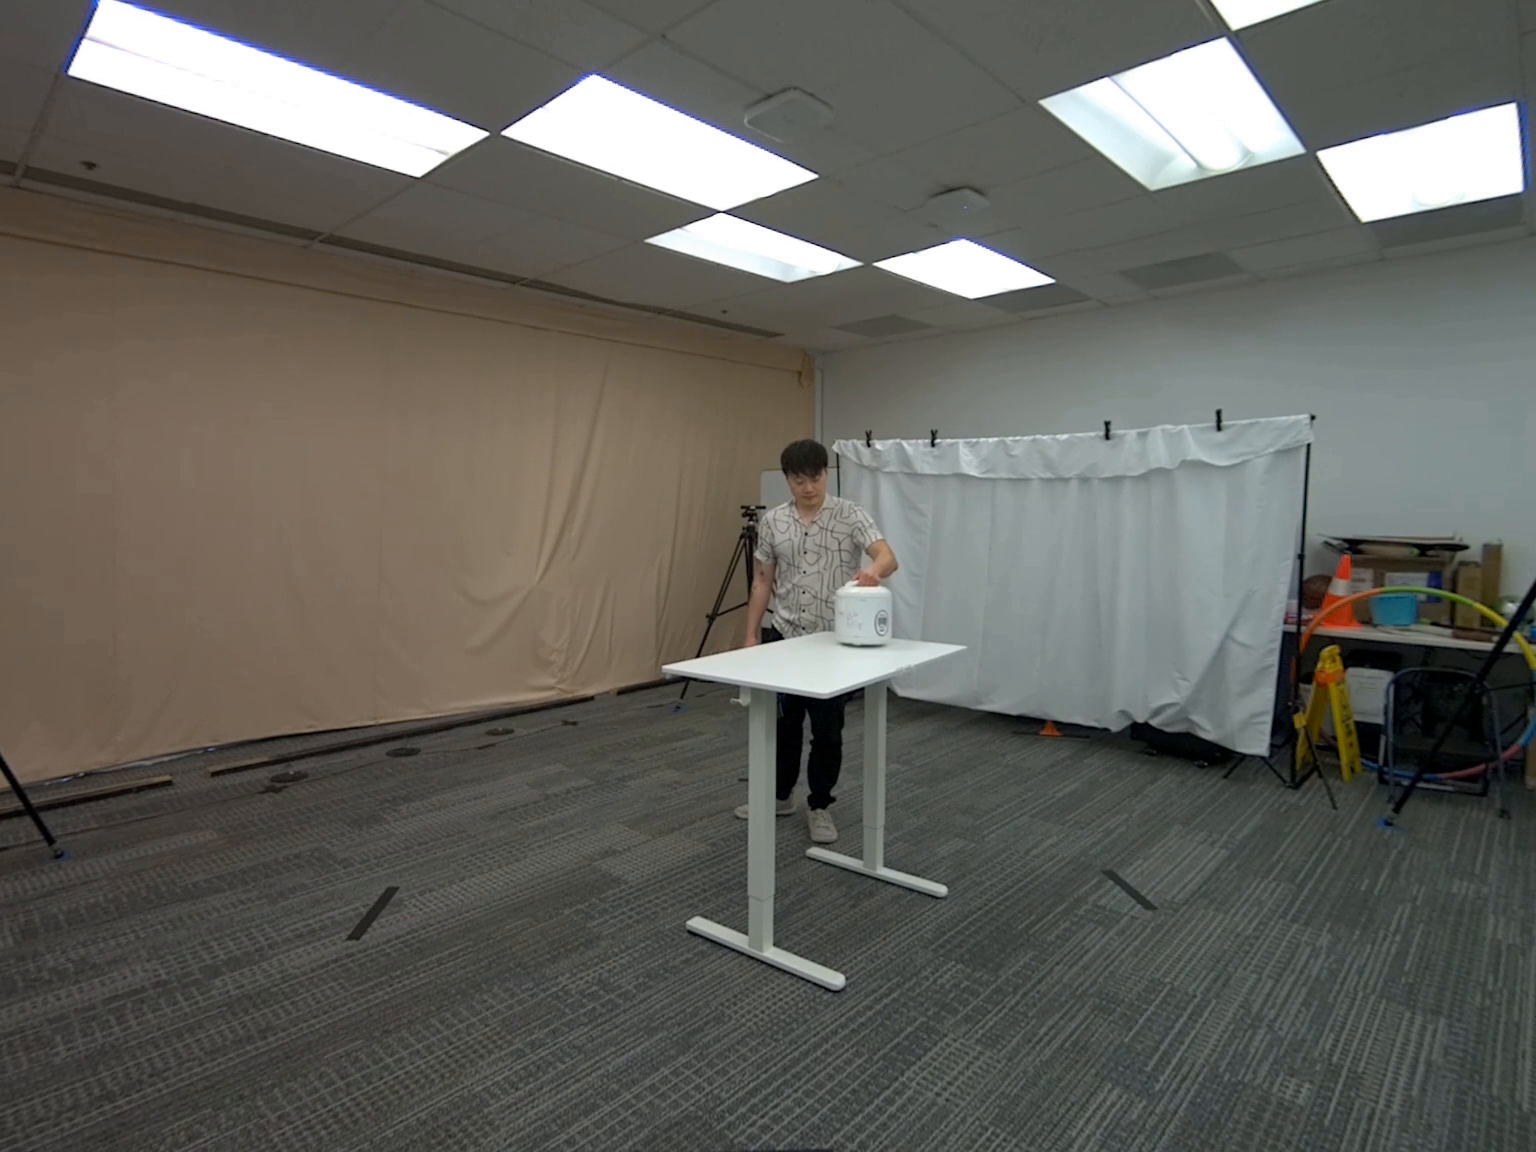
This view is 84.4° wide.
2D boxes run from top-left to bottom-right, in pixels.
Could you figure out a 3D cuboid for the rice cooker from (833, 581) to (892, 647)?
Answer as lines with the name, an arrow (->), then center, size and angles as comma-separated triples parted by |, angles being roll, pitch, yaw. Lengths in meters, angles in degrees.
rice cooker -> 0.349, 0.129, 3.085 | 0.214, 0.233, 0.223 | 0, -1, -31
